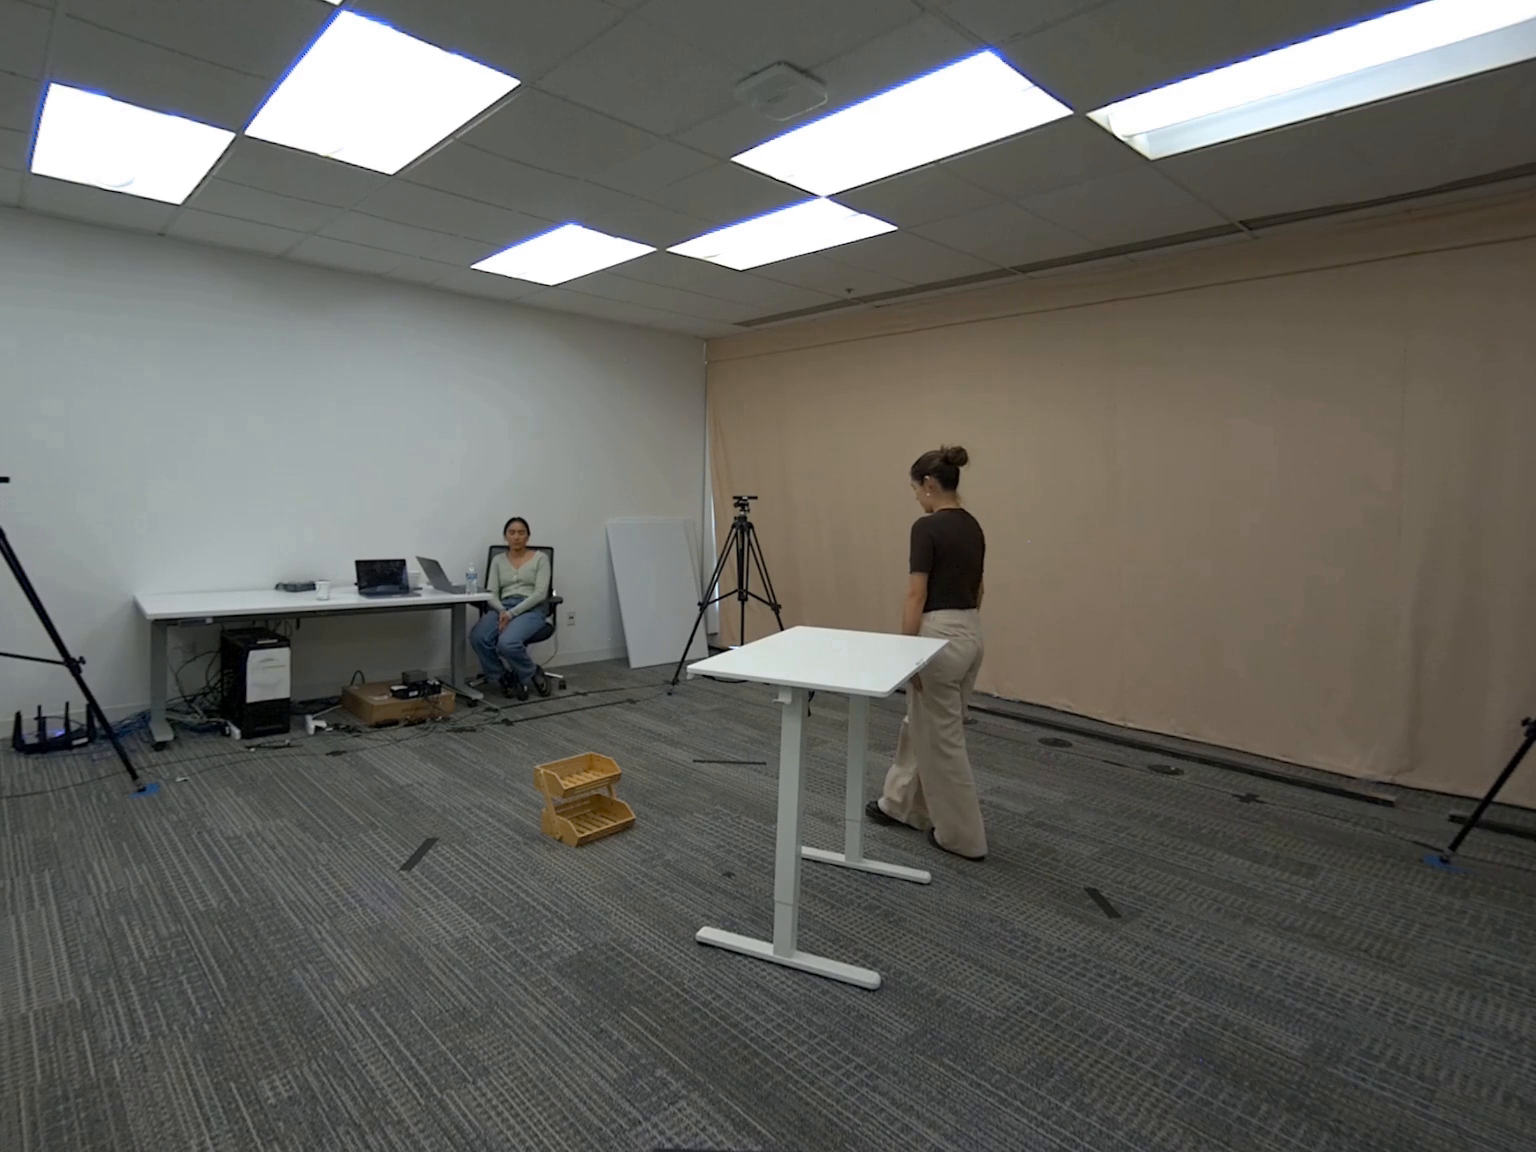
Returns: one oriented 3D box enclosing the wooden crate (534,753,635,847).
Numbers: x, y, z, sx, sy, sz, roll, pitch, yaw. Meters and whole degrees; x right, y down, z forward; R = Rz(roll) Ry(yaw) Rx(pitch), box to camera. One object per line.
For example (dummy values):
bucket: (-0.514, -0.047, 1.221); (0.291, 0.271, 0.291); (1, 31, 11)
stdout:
wooden crate: (-0.774, 0.922, 3.510); (0.309, 0.273, 0.317); (4, 4, 40)
